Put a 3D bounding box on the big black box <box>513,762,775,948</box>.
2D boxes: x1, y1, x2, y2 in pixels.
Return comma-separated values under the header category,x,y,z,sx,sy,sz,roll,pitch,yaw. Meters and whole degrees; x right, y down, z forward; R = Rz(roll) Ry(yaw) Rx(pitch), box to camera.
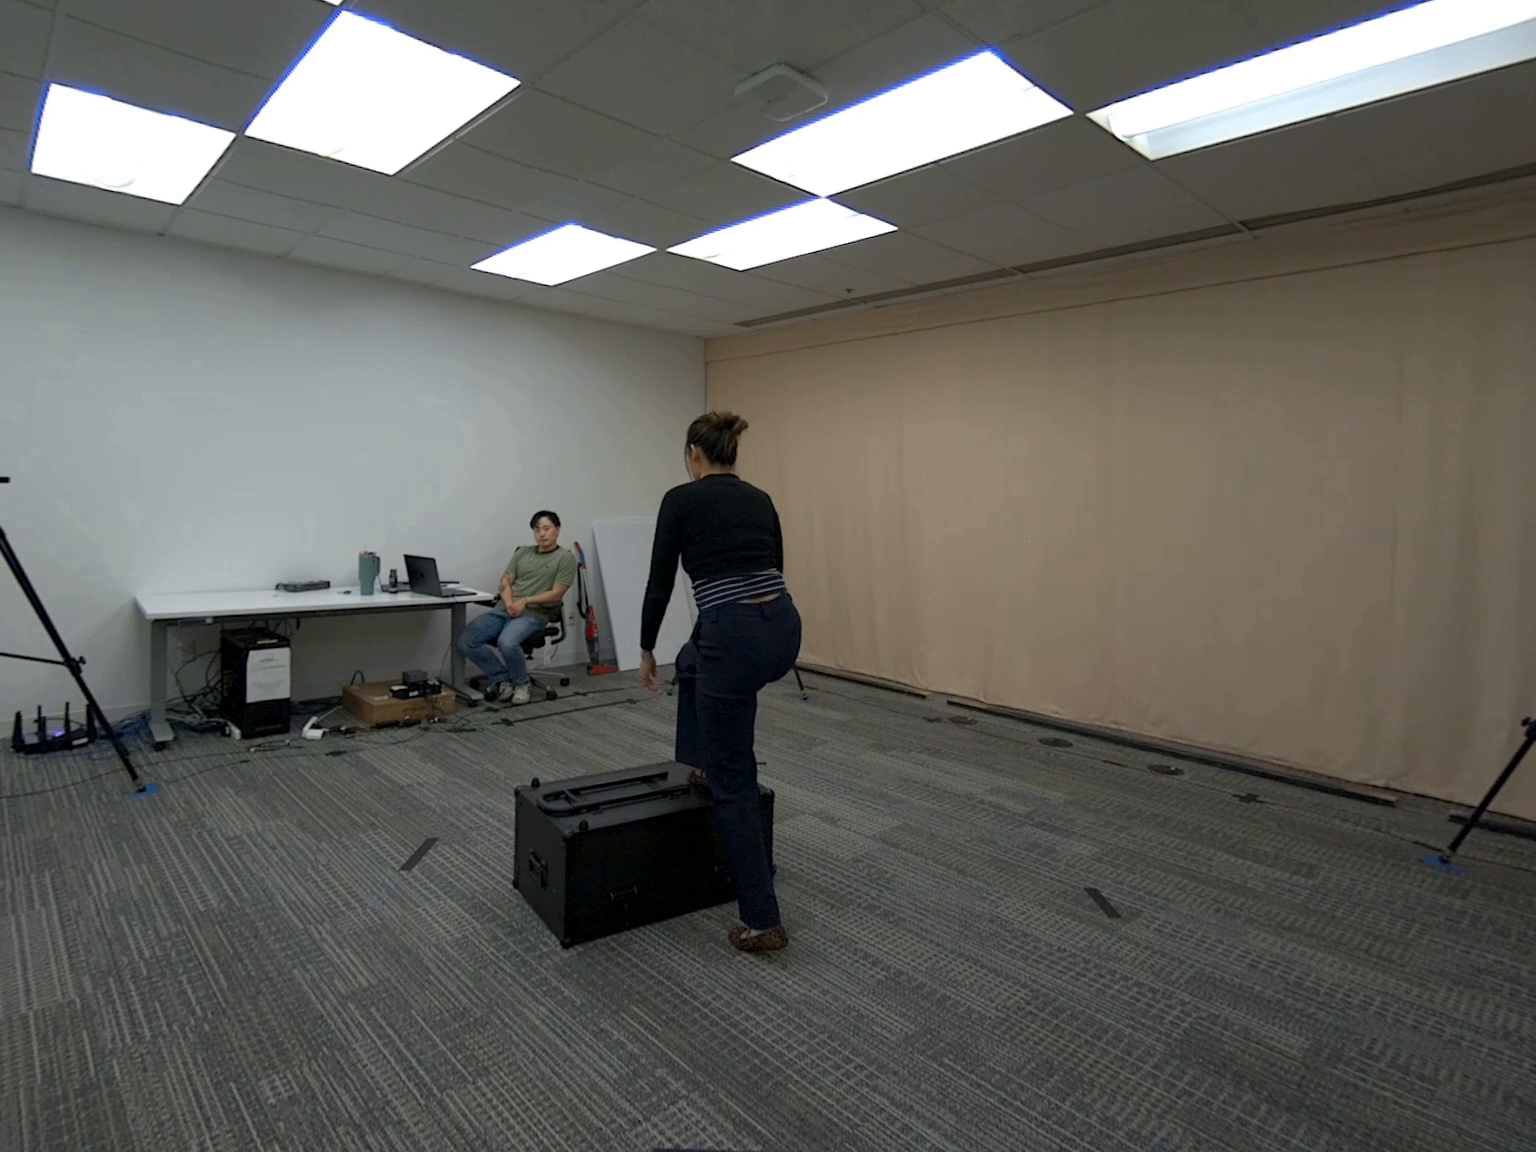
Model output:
category,x,y,z,sx,sy,sz,roll,pitch,yaw
big black box,-0.464,0.939,2.950,0.843,0.395,0.534,-2,5,-34
